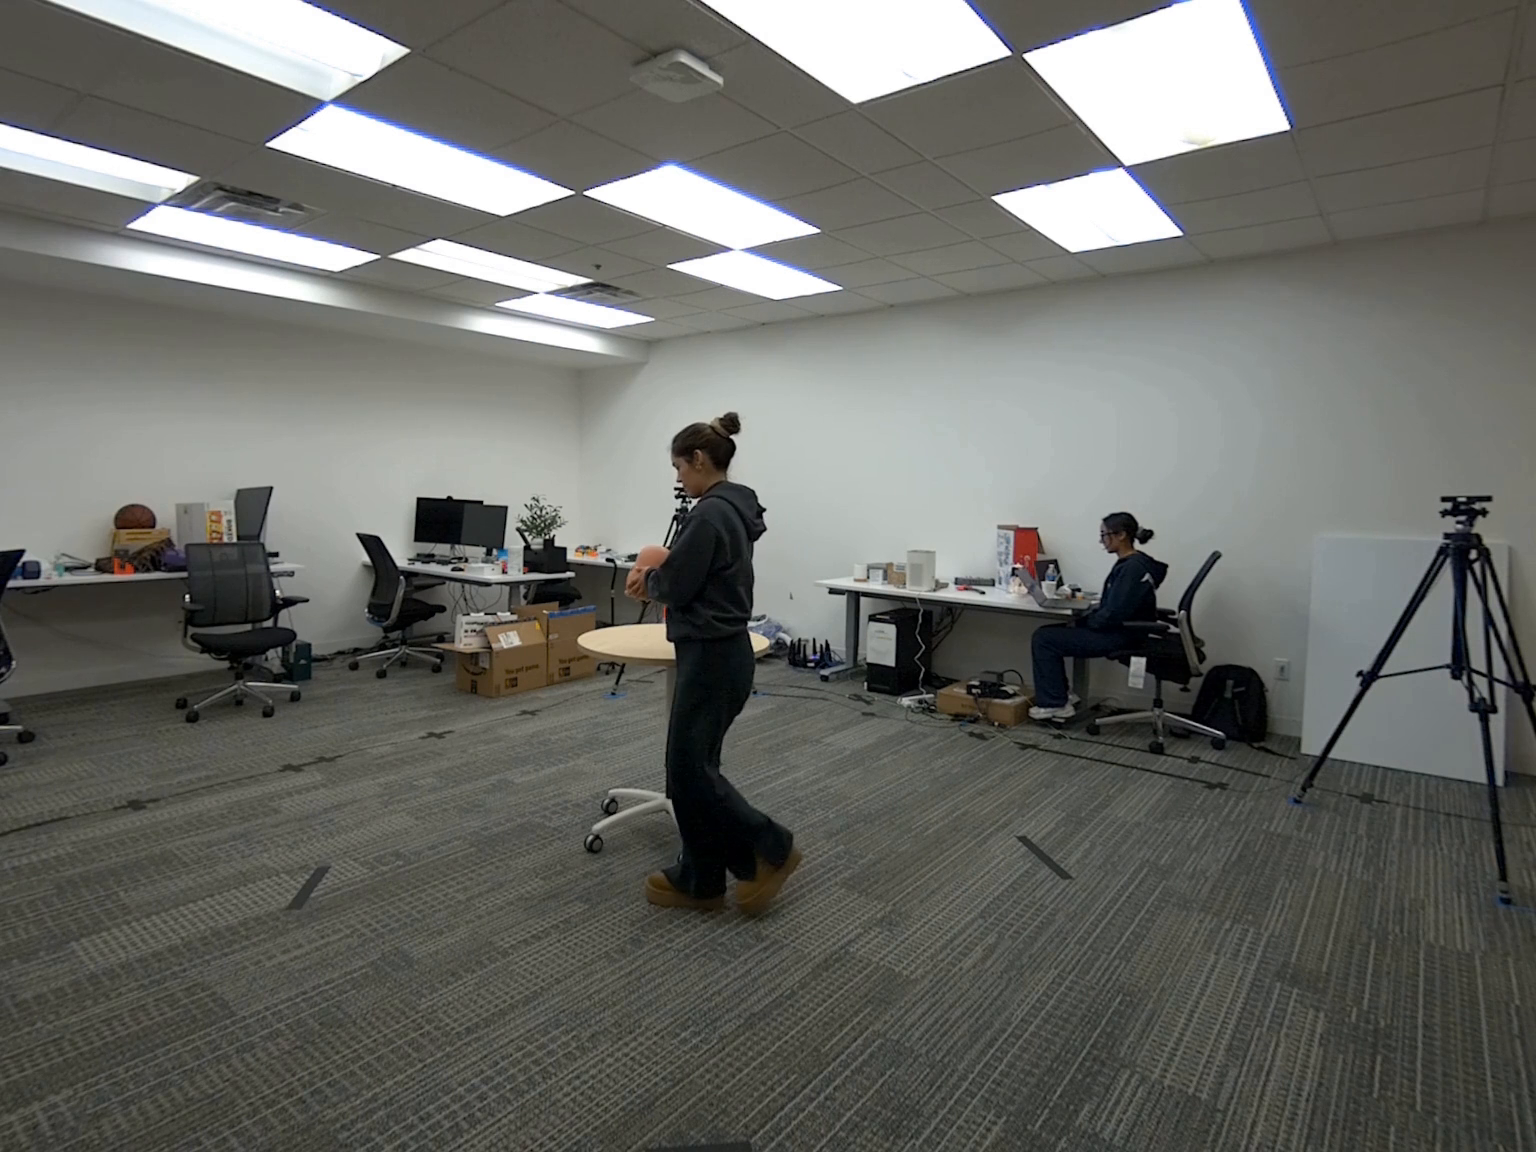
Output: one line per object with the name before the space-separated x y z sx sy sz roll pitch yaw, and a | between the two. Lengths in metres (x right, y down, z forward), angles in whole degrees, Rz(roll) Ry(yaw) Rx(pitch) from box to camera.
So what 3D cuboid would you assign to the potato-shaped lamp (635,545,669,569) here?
potato-shaped lamp | -0.405 -0.012 3.051 0.177 0.198 0.160 6 1 31
